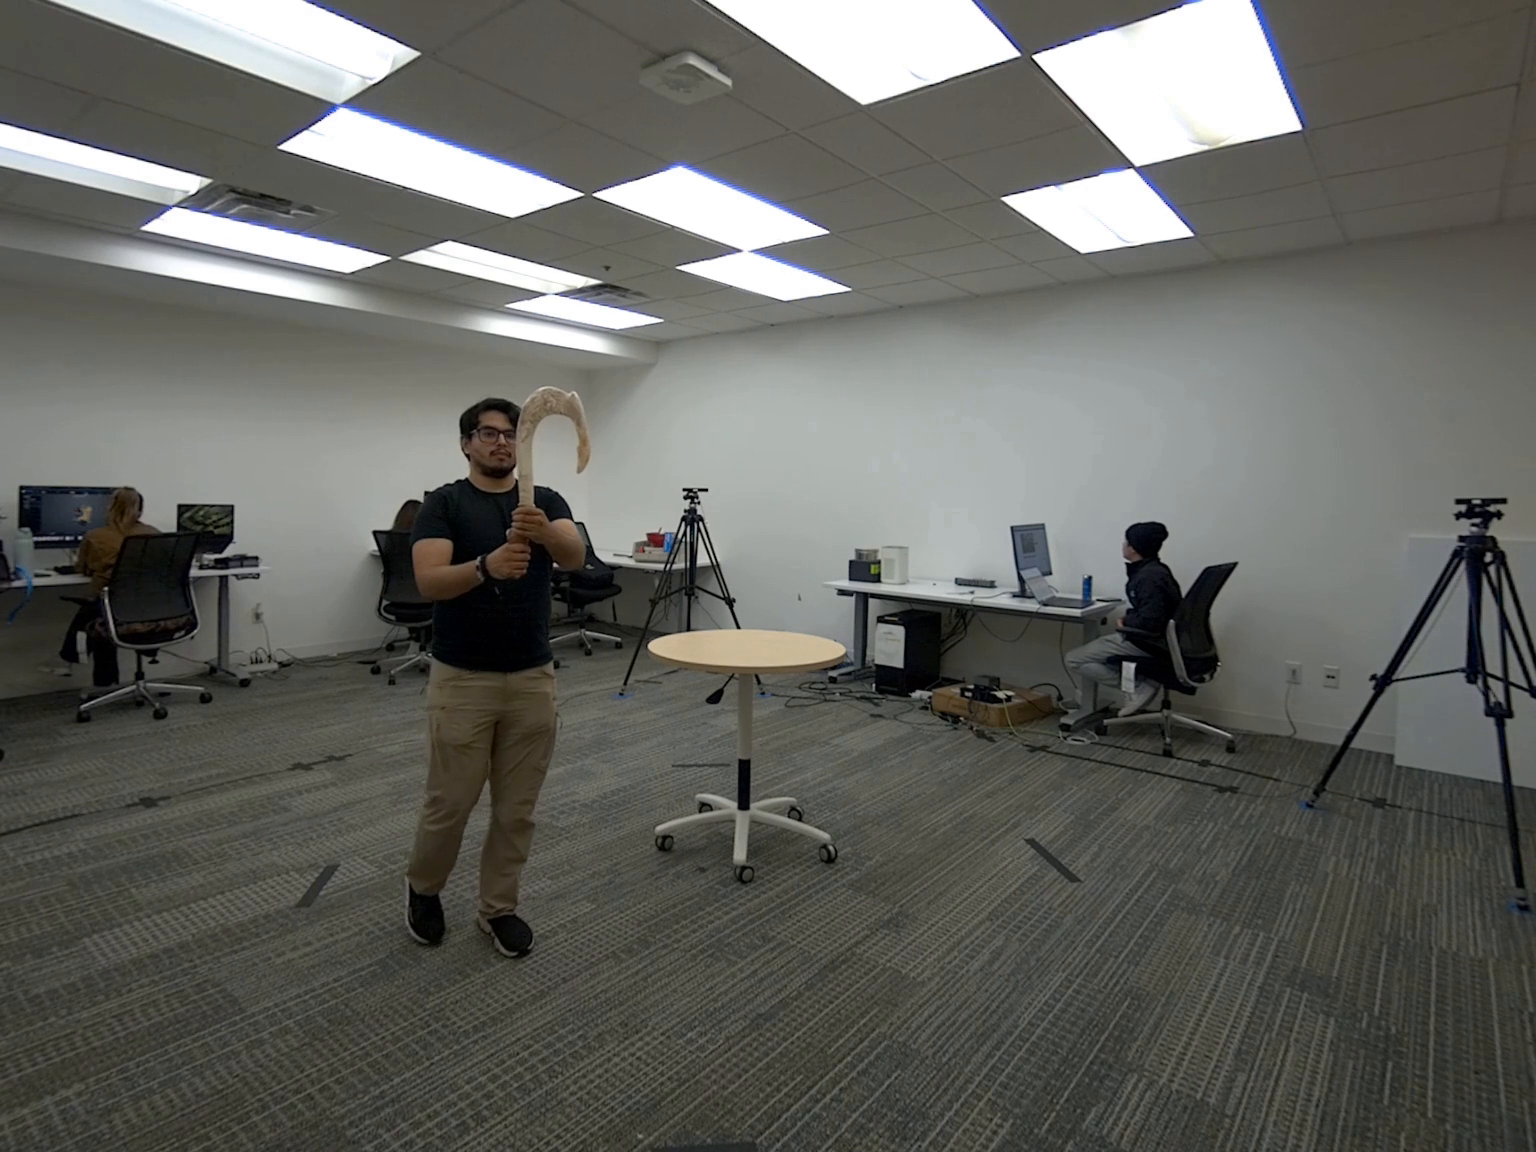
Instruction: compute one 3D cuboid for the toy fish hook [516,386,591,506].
[{"bbox_3d":[-0.590,-0.227,2.163,0.232,0.504,0.047,18,8,26],"label":"toy fish hook"}]
